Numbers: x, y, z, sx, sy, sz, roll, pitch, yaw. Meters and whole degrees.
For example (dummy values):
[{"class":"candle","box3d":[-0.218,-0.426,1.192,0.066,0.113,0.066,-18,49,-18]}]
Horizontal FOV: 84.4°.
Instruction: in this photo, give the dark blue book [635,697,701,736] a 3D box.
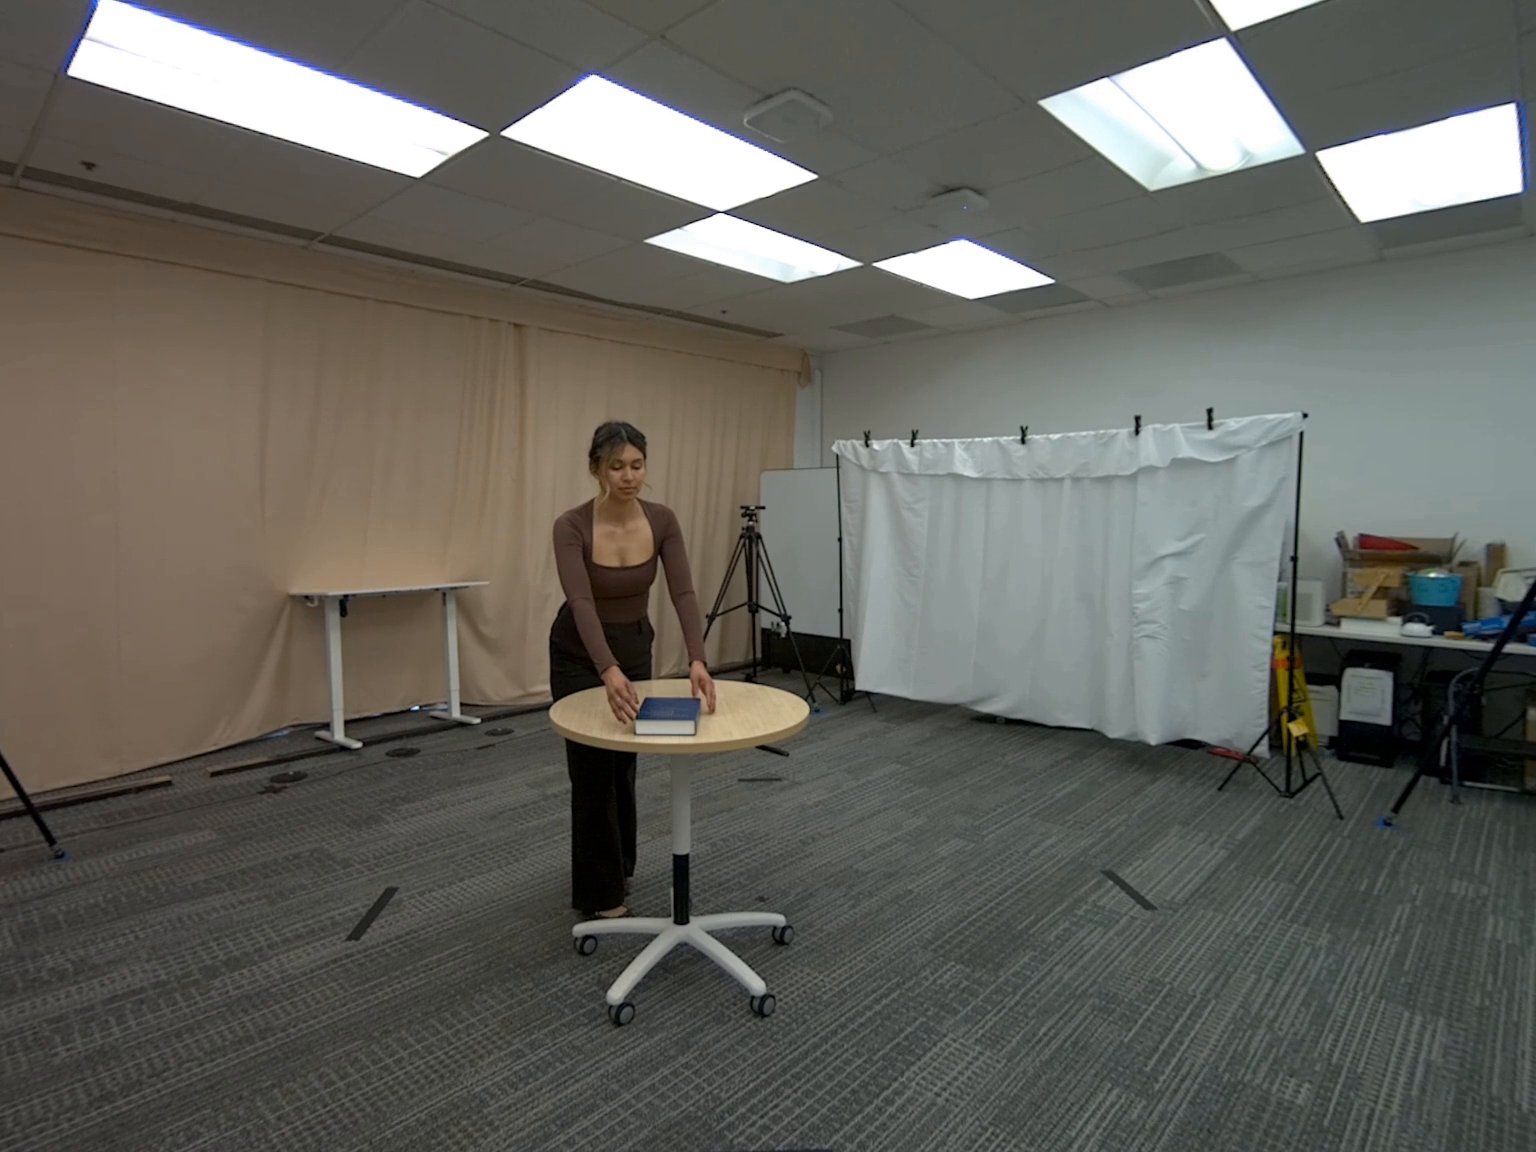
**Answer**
[{"class":"dark blue book","box3d":[-0.271,0.385,2.298,0.164,0.045,0.245,0,4,1]}]
